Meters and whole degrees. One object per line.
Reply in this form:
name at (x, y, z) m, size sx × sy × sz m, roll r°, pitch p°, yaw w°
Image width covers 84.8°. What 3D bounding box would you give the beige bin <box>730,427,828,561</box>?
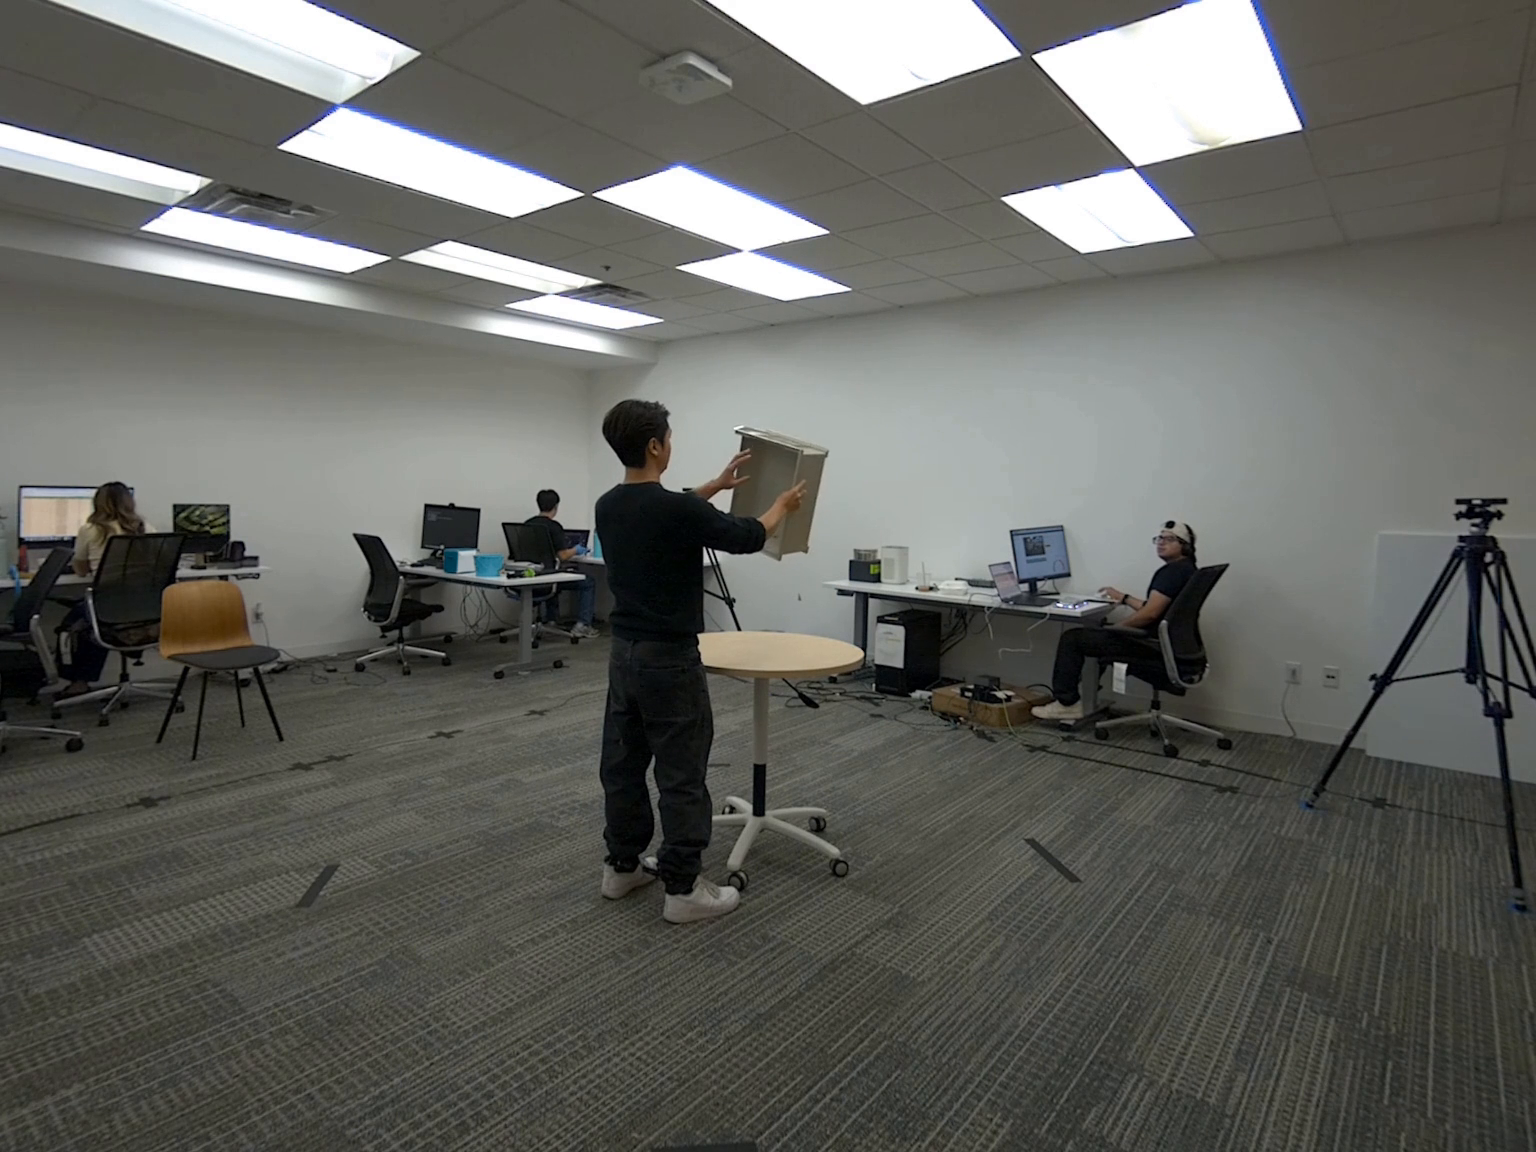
beige bin at (-0.024, -0.322, 3.234) m, size 0.392 × 0.417 × 0.184 m, roll 24°, pitch 20°, yaw 38°
